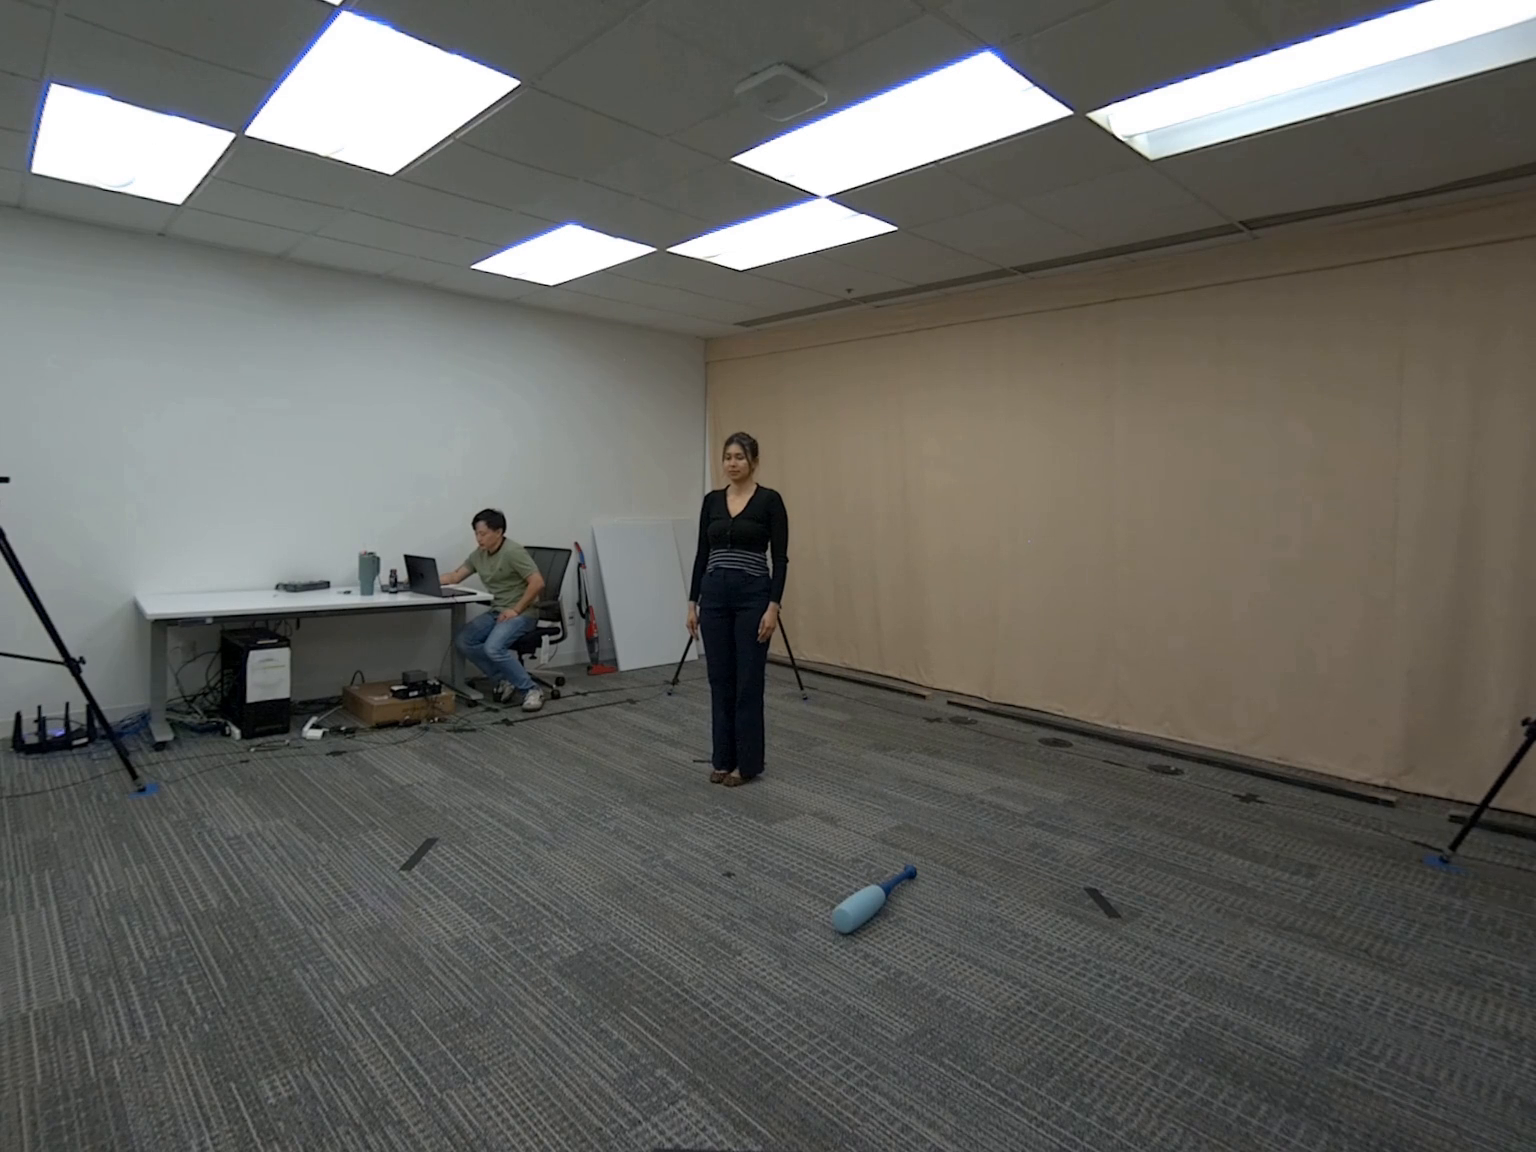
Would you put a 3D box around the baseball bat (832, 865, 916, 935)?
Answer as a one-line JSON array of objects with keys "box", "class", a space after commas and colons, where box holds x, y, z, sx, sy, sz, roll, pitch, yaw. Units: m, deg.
[{"box": [0.378, 1.099, 2.894, 0.091, 0.089, 0.531, 4, 3, 33], "class": "baseball bat"}]
